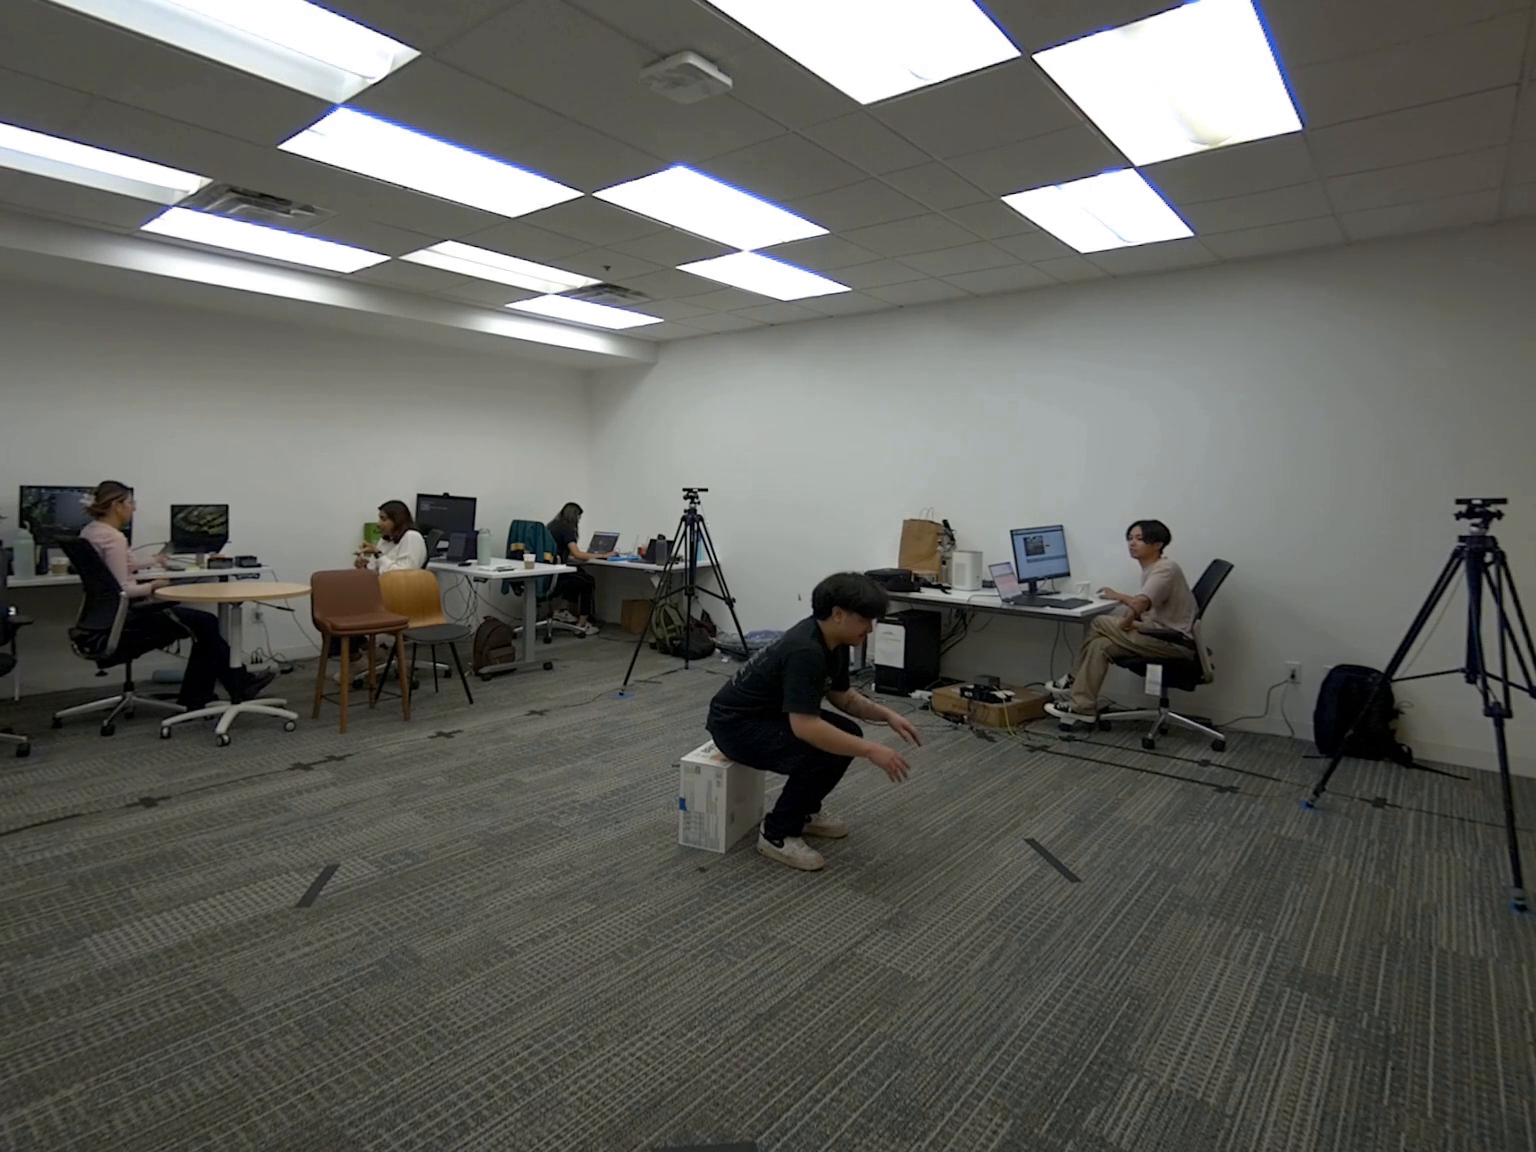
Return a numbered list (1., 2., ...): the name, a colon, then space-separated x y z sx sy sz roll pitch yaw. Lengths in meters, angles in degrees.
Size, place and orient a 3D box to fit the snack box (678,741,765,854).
1. snack box: -0.192 0.868 3.460 0.210 0.339 0.397 2 4 22
